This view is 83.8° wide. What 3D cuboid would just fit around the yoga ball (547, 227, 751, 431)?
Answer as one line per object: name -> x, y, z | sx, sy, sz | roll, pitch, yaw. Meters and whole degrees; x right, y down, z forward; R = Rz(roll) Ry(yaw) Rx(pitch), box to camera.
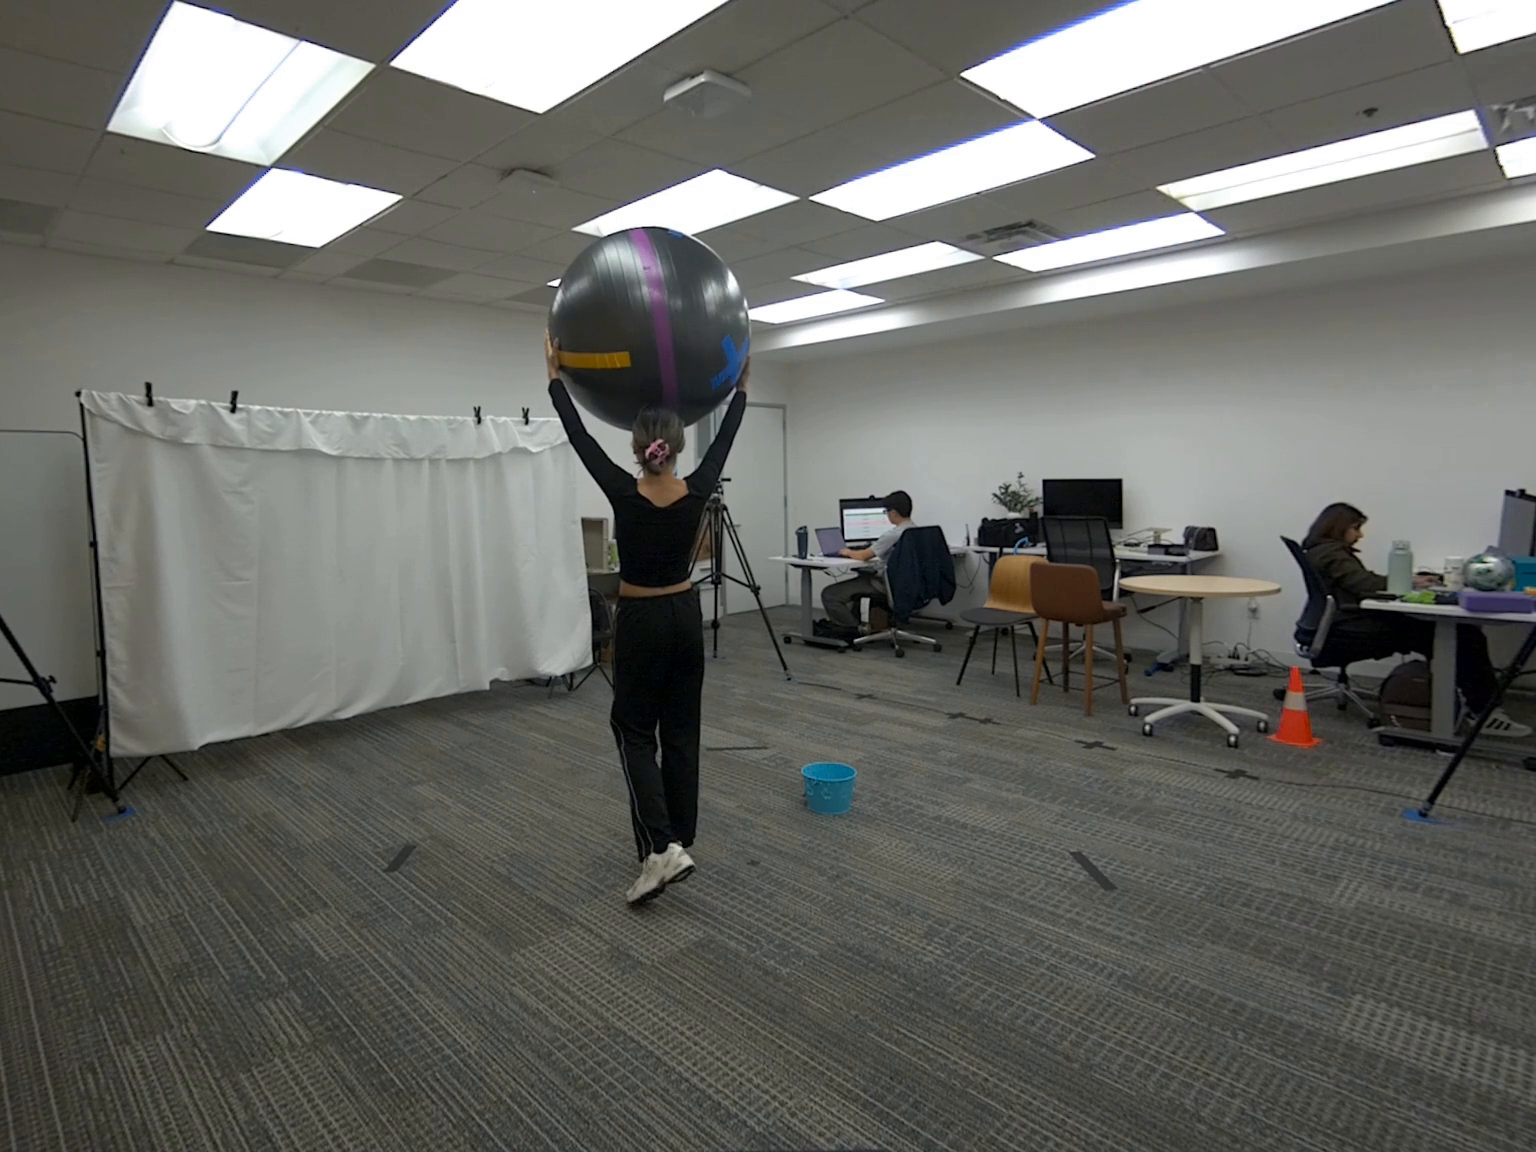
yoga ball -> -0.444, -0.910, 3.209 | 0.757, 0.755, 0.762 | -1, 5, -2
